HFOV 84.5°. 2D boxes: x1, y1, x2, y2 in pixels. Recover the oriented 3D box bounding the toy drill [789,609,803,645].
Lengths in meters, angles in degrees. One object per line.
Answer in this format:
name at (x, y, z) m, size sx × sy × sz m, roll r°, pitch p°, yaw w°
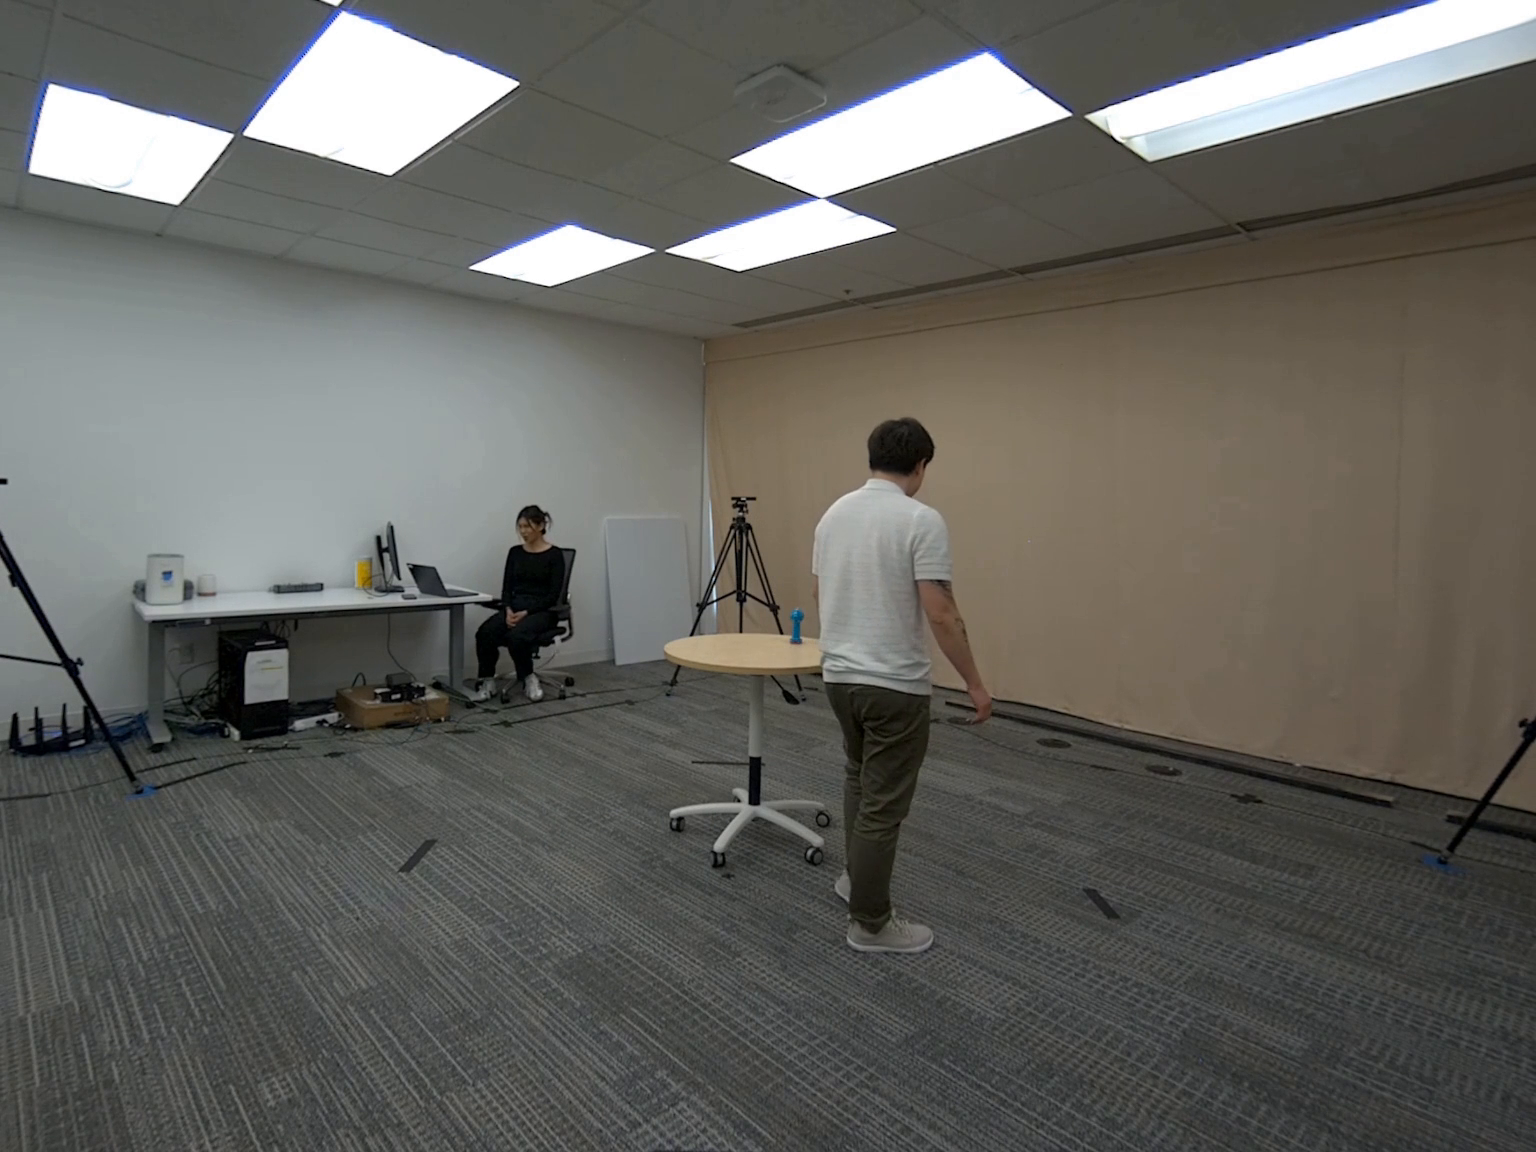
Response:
toy drill at (0.111, 0.209, 3.621) m, size 0.061 × 0.146 × 0.170 m, roll 0°, pitch 4°, yaw 2°
